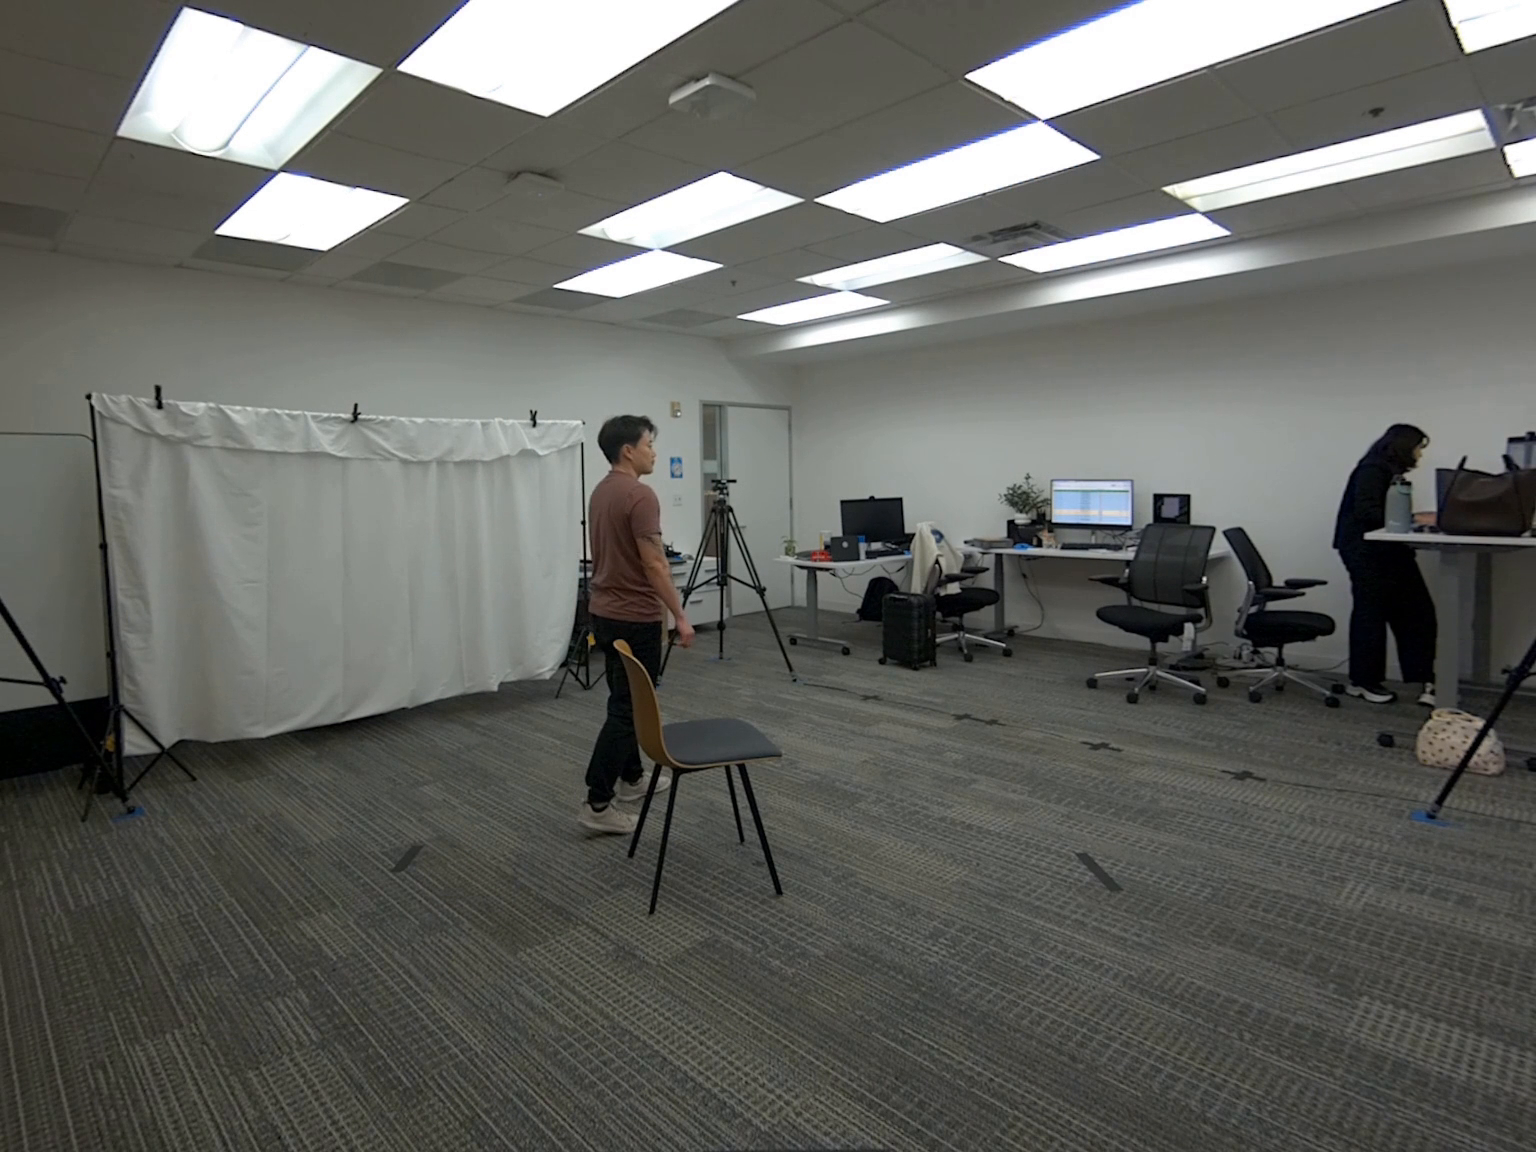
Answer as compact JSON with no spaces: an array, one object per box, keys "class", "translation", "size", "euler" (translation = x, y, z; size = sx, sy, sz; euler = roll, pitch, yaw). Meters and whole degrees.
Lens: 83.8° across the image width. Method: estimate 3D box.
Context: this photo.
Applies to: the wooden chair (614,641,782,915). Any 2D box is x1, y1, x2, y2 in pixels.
[{"class":"wooden chair","translation":[-0.235,0.637,2.994],"size":[0.516,0.873,0.487],"euler":[-6,5,-16]}]
